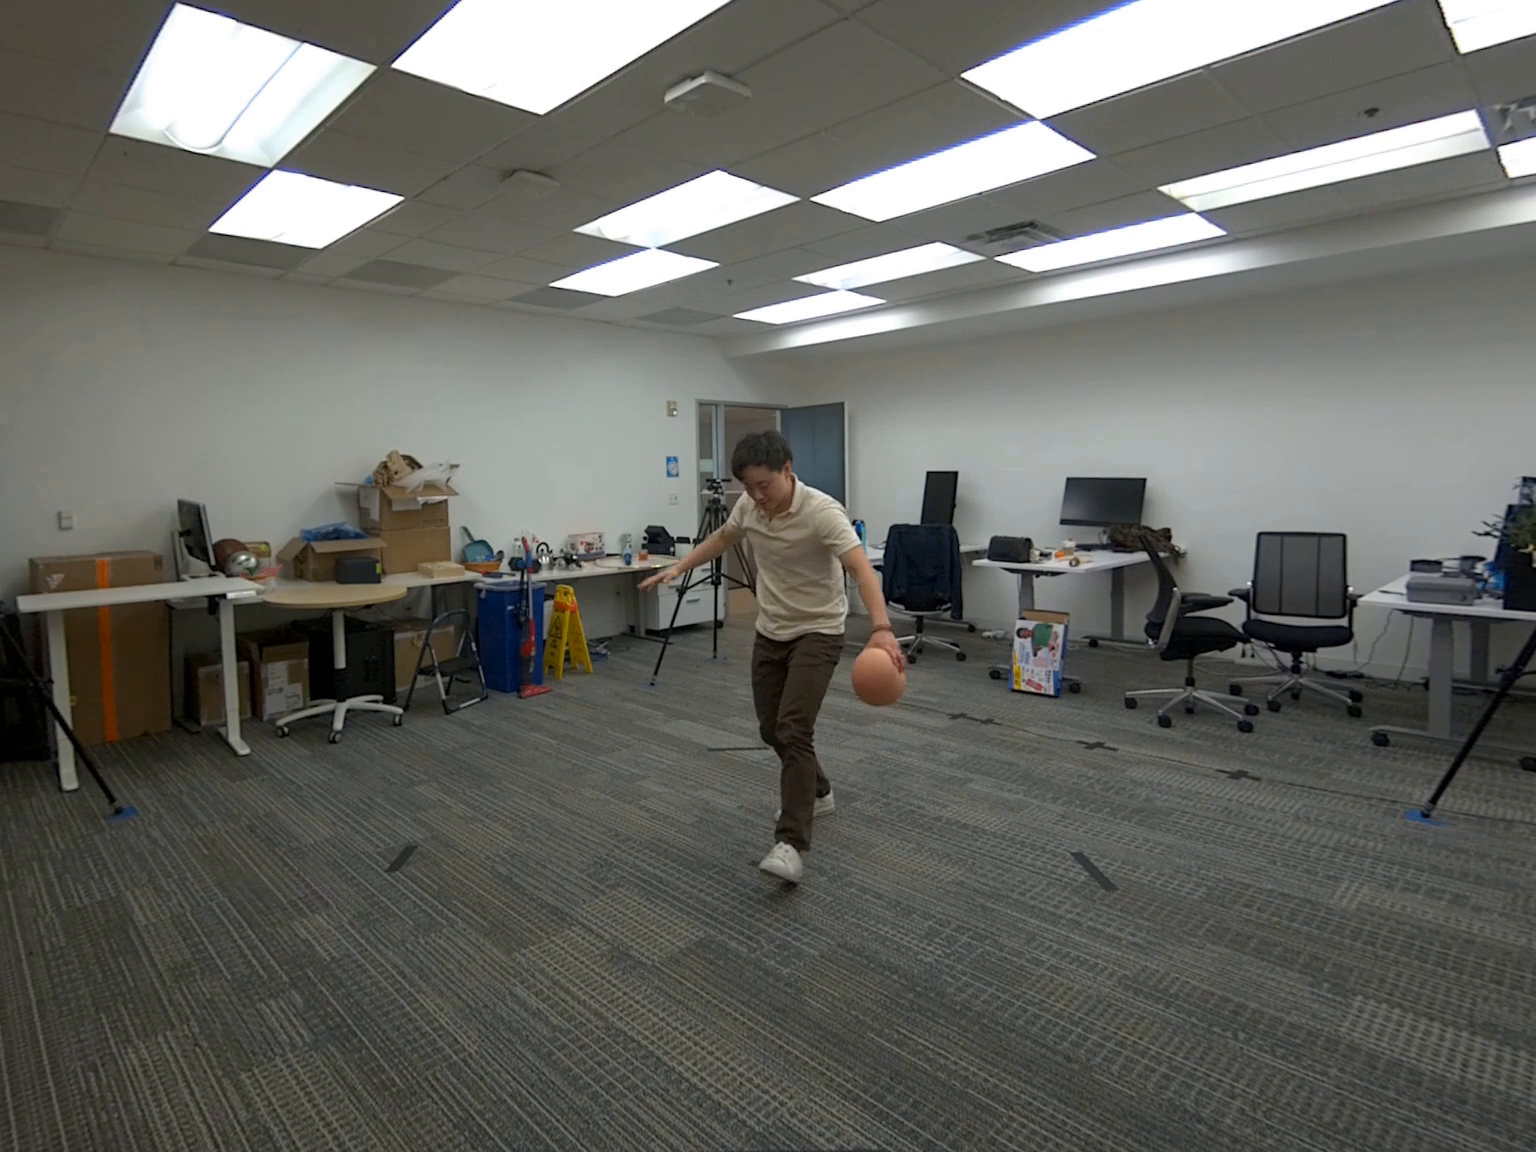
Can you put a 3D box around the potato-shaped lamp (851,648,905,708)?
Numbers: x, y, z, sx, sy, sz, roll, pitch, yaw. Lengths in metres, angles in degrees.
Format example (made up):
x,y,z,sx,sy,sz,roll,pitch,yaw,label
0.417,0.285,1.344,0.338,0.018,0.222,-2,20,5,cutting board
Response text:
x,y,z,sx,sy,sz,roll,pitch,yaw,label
0.349,0.333,2.706,0.170,0.191,0.171,23,57,30,potato-shaped lamp
